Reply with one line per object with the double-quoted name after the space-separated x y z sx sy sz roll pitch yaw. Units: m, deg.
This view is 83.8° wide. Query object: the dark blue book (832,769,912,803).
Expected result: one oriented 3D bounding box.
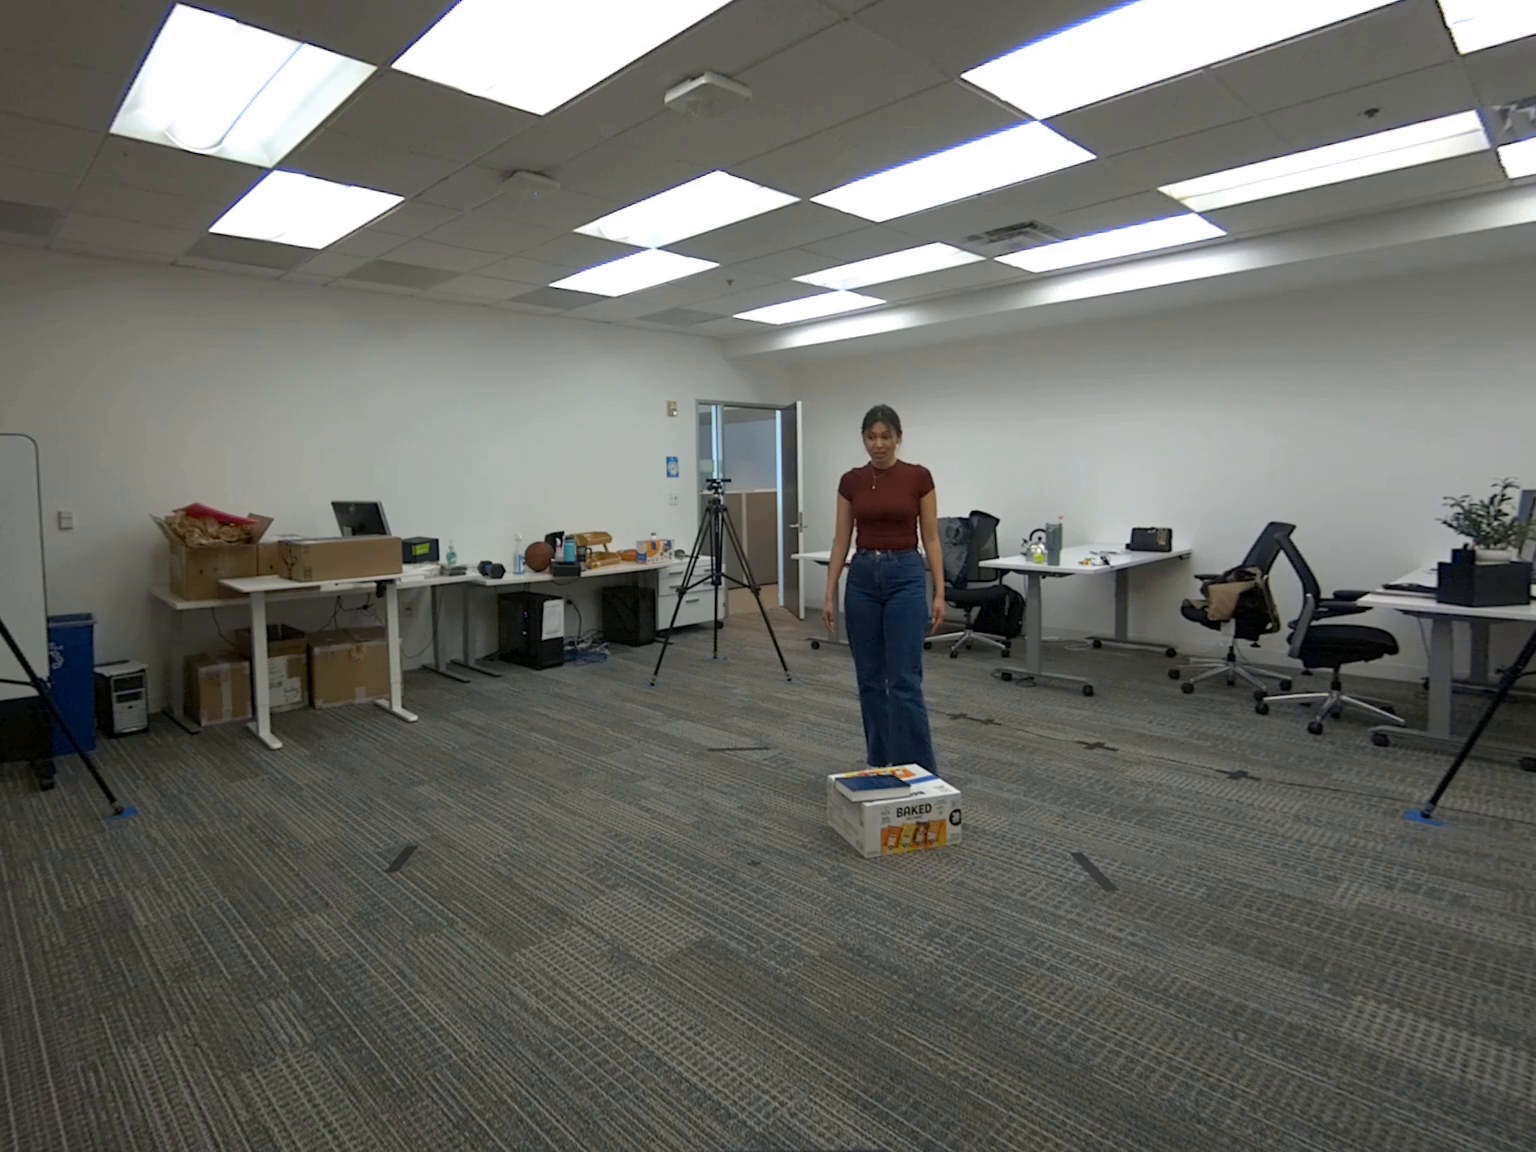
0.406 0.804 3.242 0.241 0.045 0.166 0 4 -18 "dark blue book"
